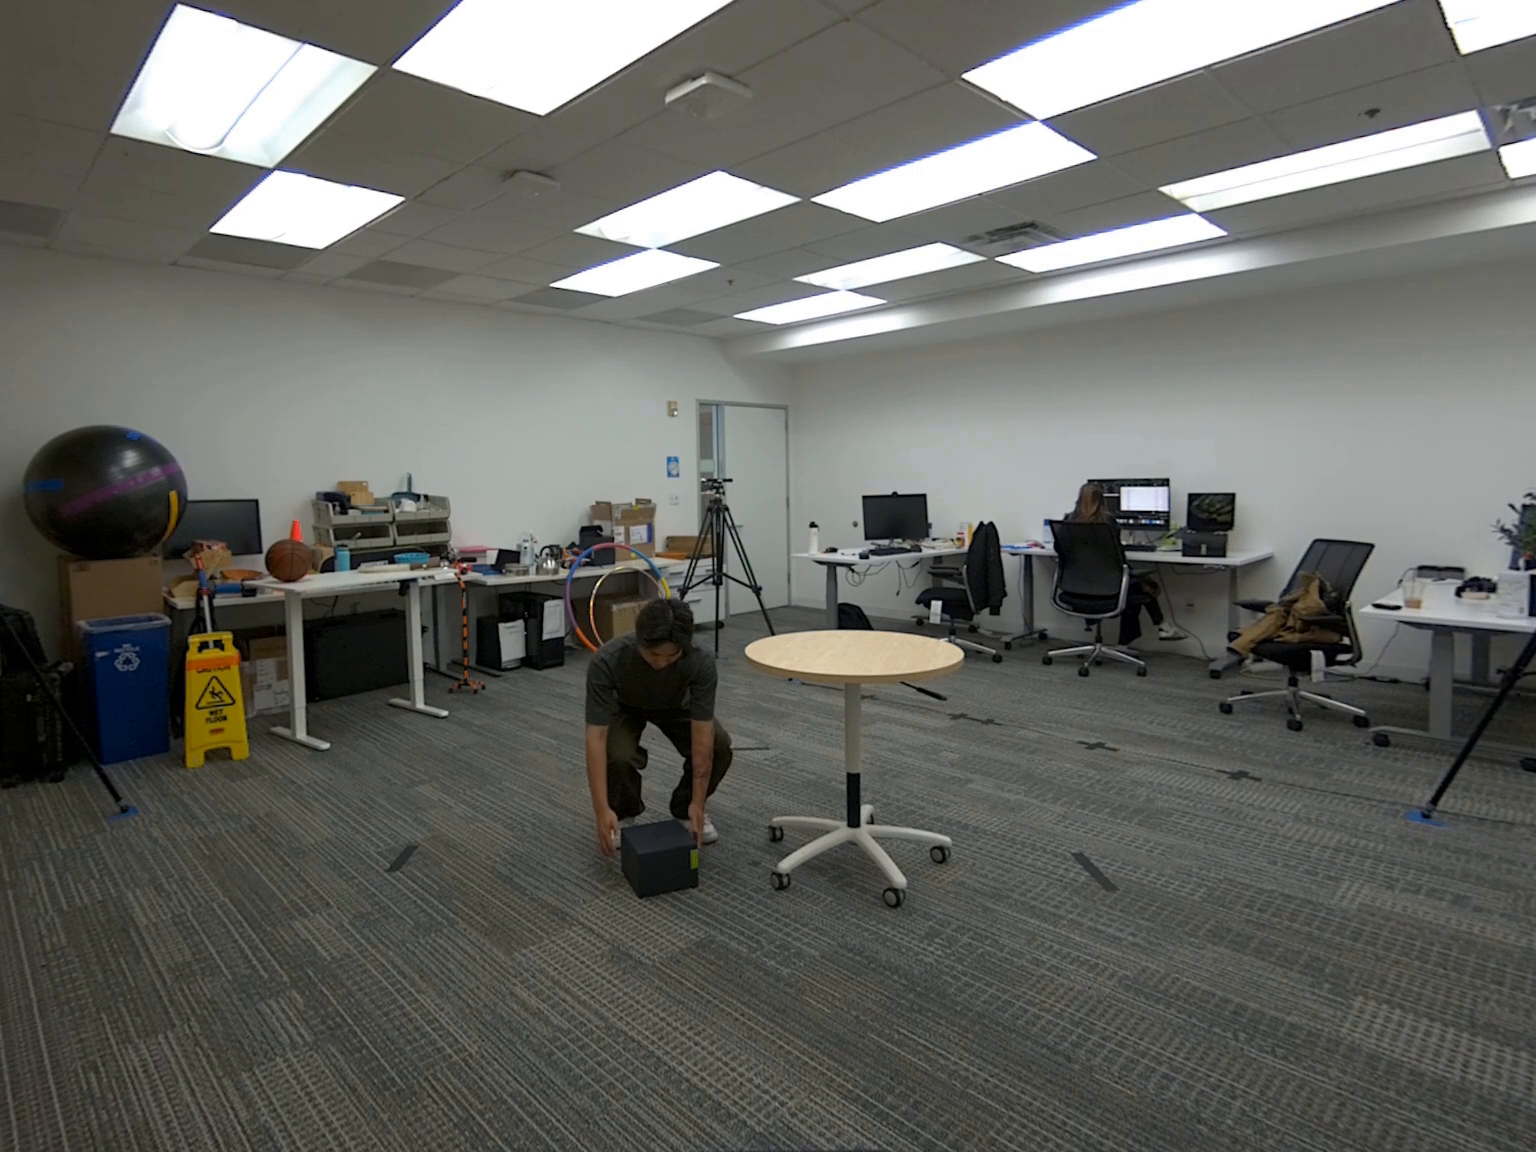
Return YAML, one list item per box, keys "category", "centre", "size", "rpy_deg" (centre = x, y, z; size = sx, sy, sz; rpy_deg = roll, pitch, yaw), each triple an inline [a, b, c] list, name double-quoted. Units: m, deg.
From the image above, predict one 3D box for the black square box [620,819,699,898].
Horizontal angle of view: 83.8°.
- category: "black square box"
  centre: [-0.381, 0.982, 2.989]
  size: [0.213, 0.155, 0.233]
  rpy_deg: [-4, 6, -24]
